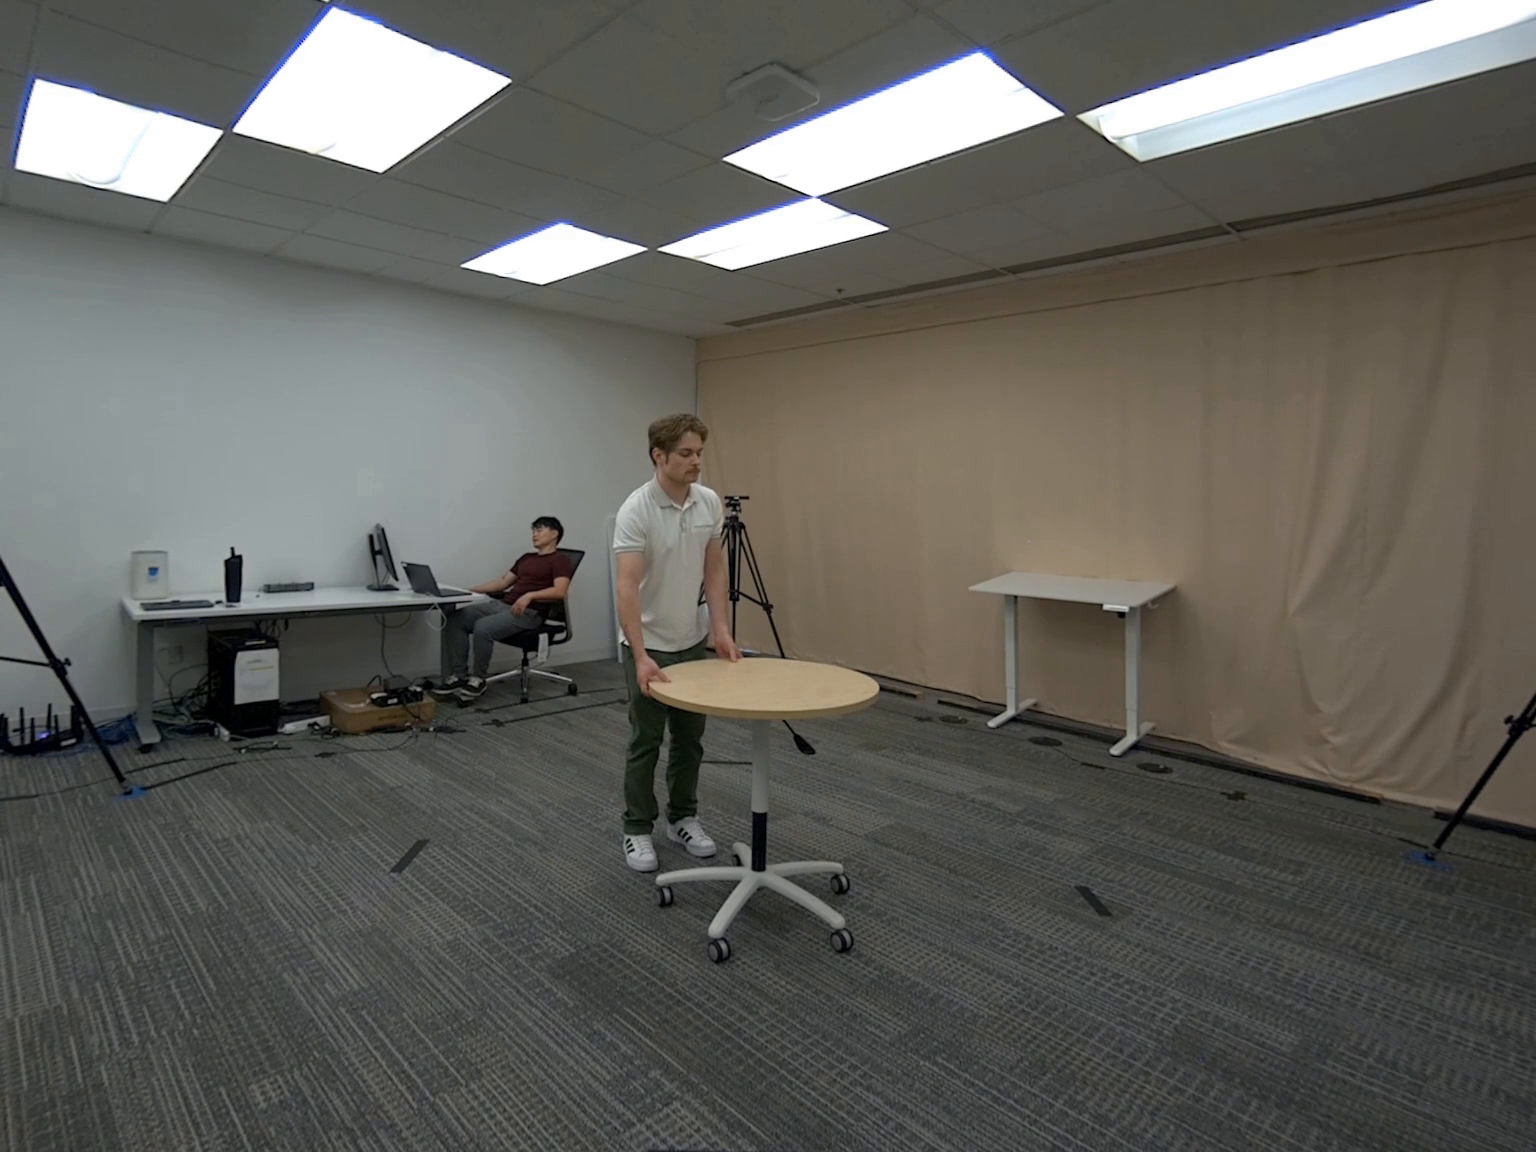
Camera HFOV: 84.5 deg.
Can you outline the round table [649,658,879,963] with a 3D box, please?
[{"bbox_3d":[-0.028,0.745,2.824,0.763,0.791,0.767,2,5,-1],"label":"round table"}]
